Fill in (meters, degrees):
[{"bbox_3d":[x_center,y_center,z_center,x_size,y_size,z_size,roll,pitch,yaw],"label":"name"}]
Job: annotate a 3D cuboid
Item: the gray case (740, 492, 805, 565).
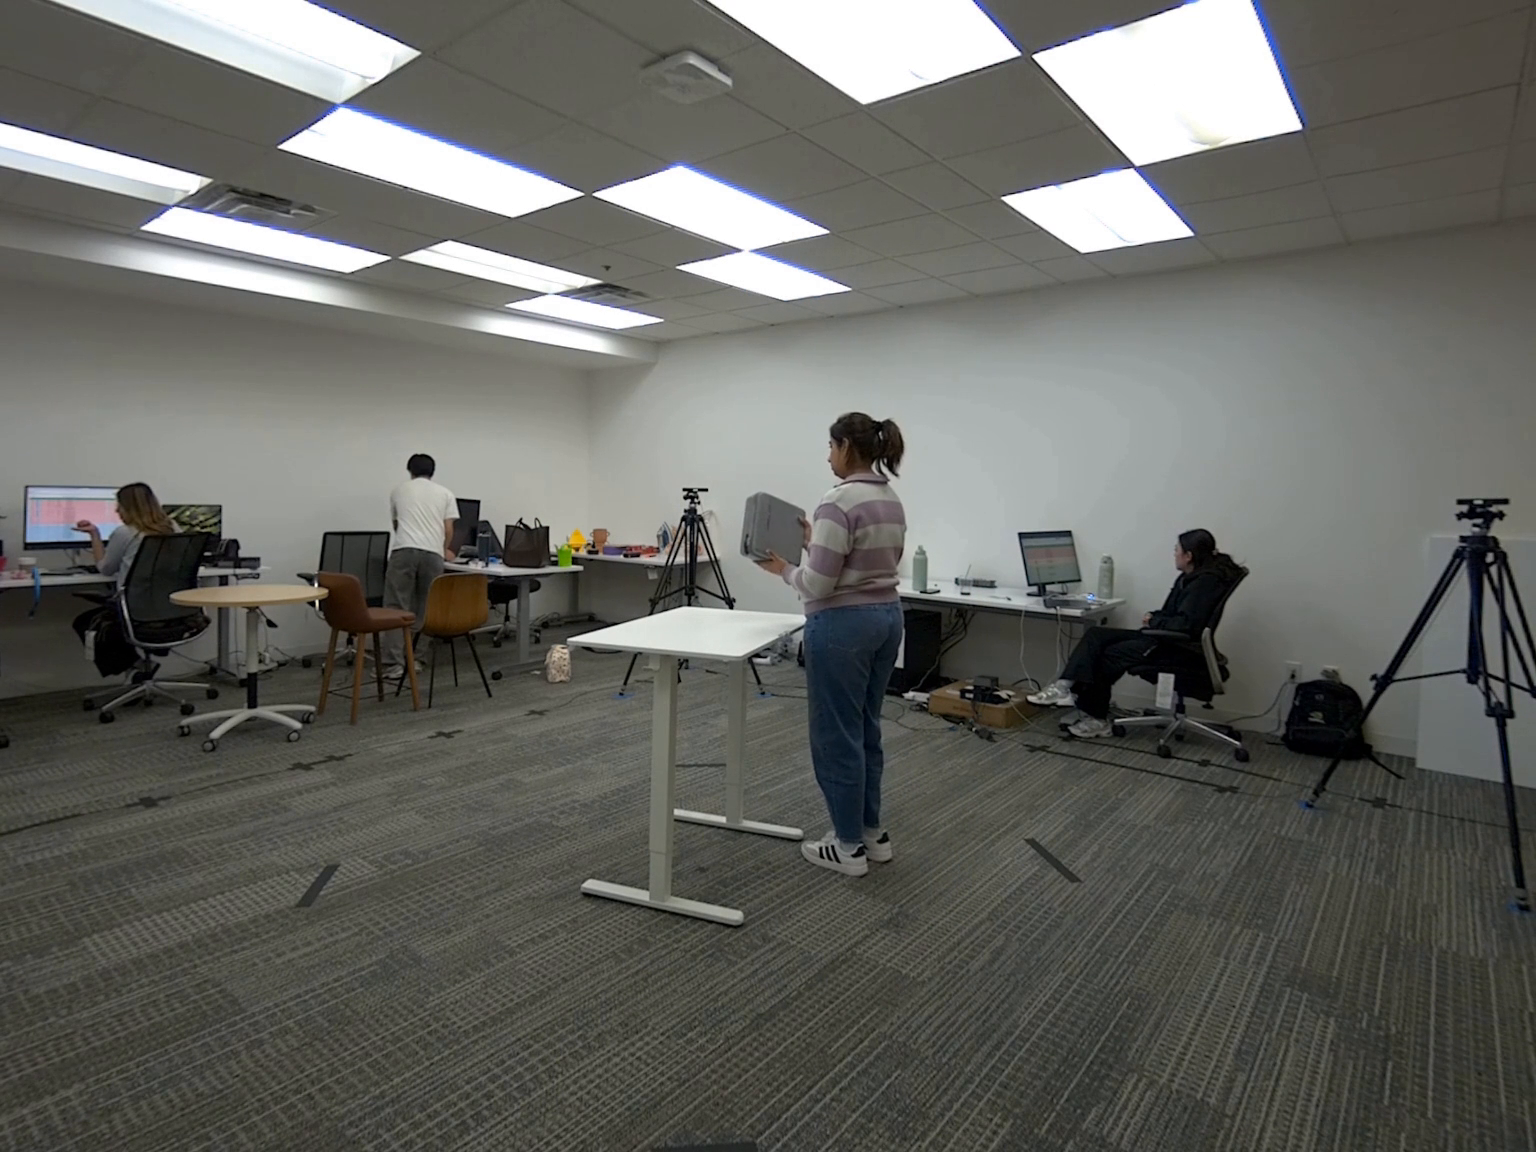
[{"bbox_3d":[0.013,-0.179,3.314,0.251,0.260,0.107,19,-20,-37],"label":"gray case"}]
